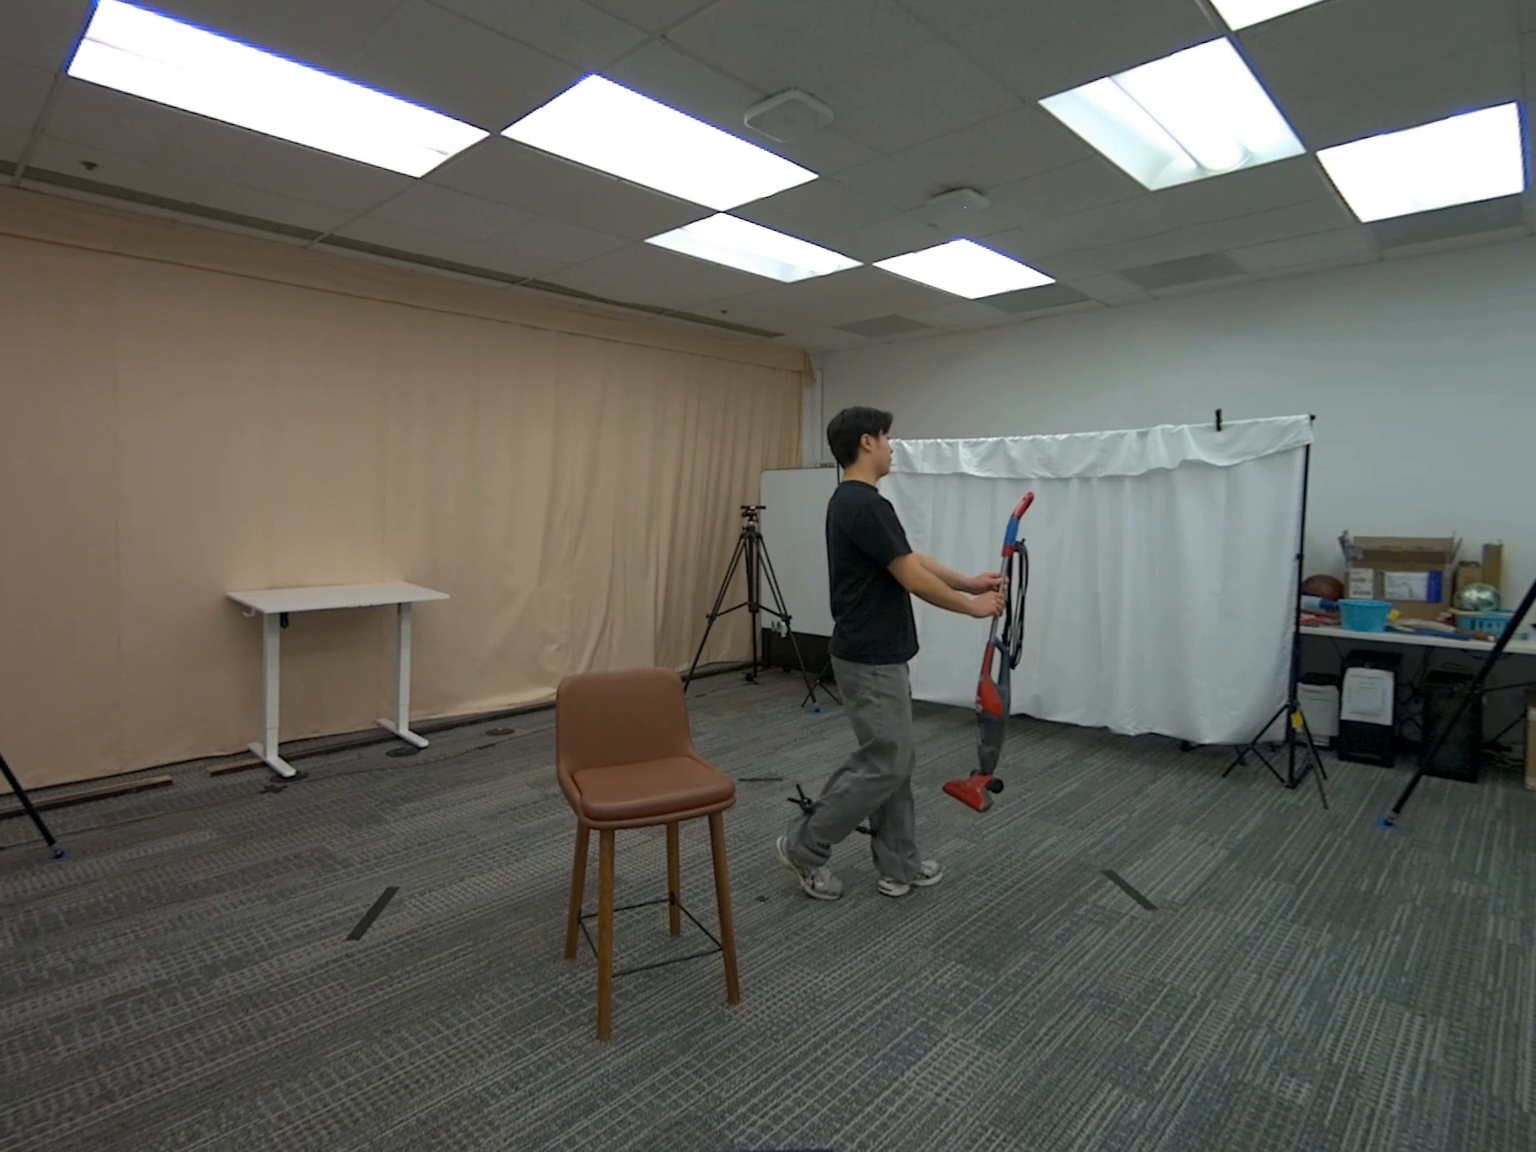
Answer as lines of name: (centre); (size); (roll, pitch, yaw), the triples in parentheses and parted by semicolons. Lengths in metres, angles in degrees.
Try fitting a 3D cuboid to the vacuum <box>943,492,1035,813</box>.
vacuum: (0.840, 0.240, 2.942); (0.141, 1.050, 0.257); (12, -3, -17)
